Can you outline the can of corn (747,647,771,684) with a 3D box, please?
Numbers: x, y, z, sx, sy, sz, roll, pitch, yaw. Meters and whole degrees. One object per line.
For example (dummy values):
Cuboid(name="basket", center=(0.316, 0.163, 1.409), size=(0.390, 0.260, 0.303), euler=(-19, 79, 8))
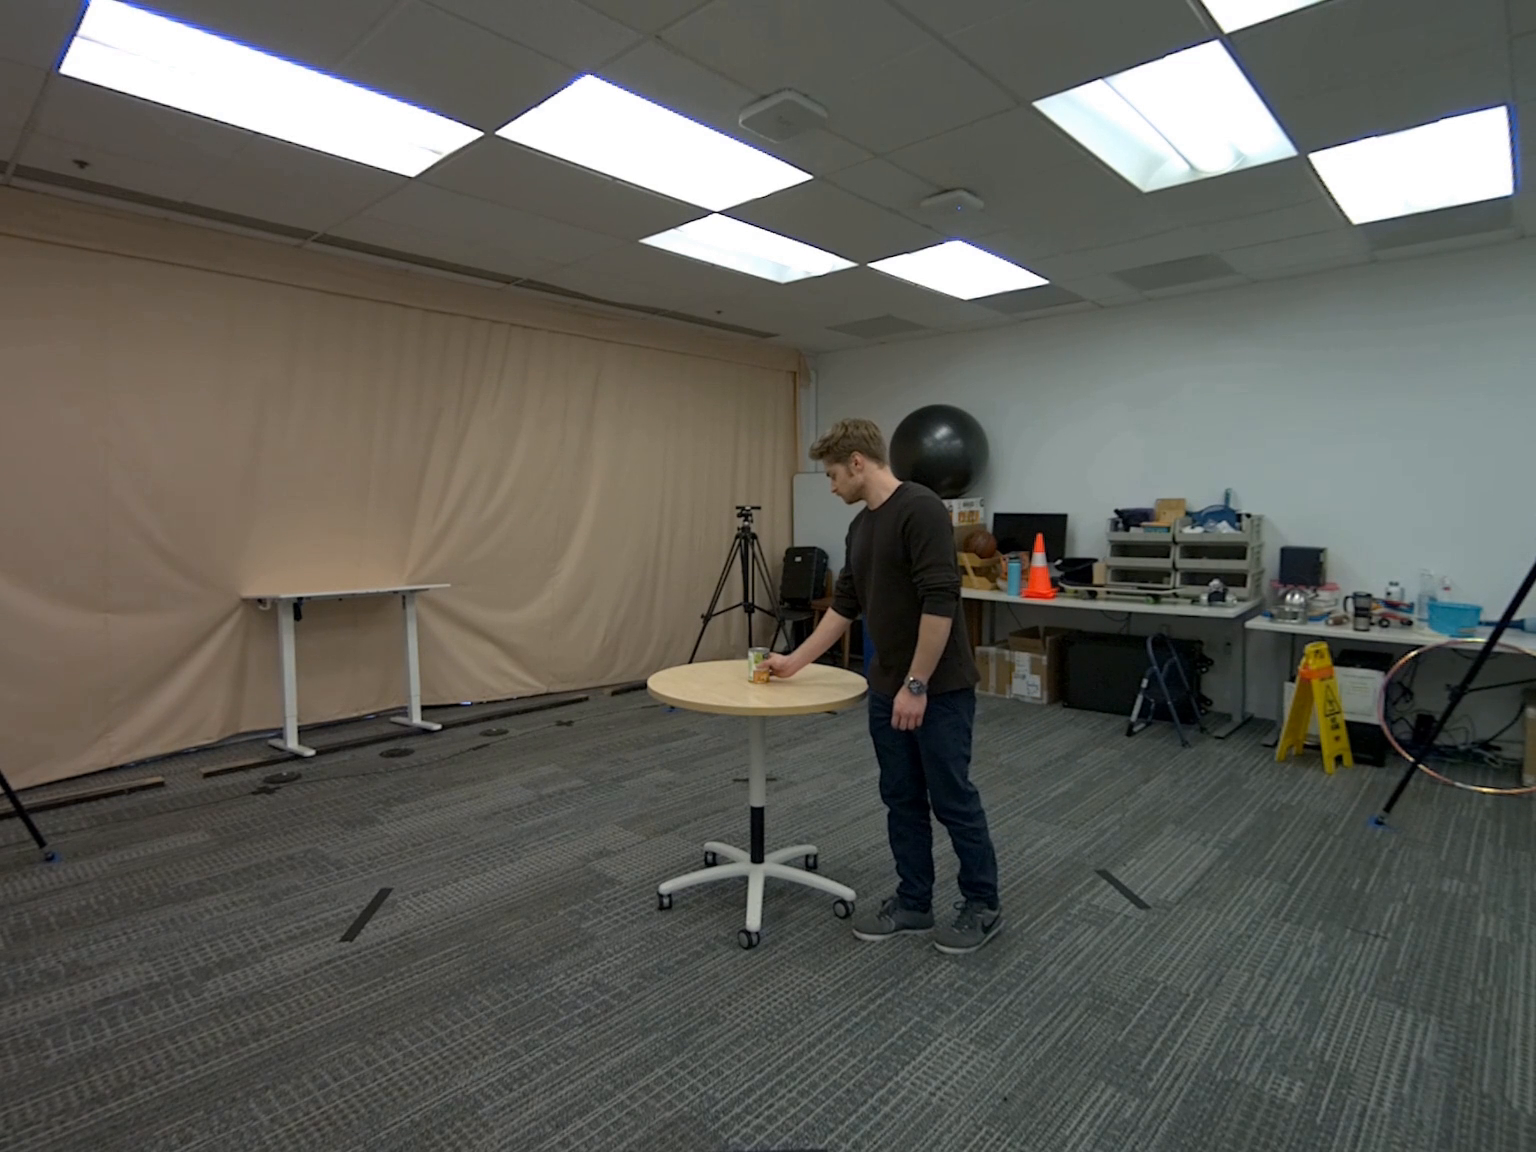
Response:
Cuboid(name="can of corn", center=(-0.026, 0.314, 2.915), size=(0.074, 0.111, 0.074), euler=(1, 3, -2))
